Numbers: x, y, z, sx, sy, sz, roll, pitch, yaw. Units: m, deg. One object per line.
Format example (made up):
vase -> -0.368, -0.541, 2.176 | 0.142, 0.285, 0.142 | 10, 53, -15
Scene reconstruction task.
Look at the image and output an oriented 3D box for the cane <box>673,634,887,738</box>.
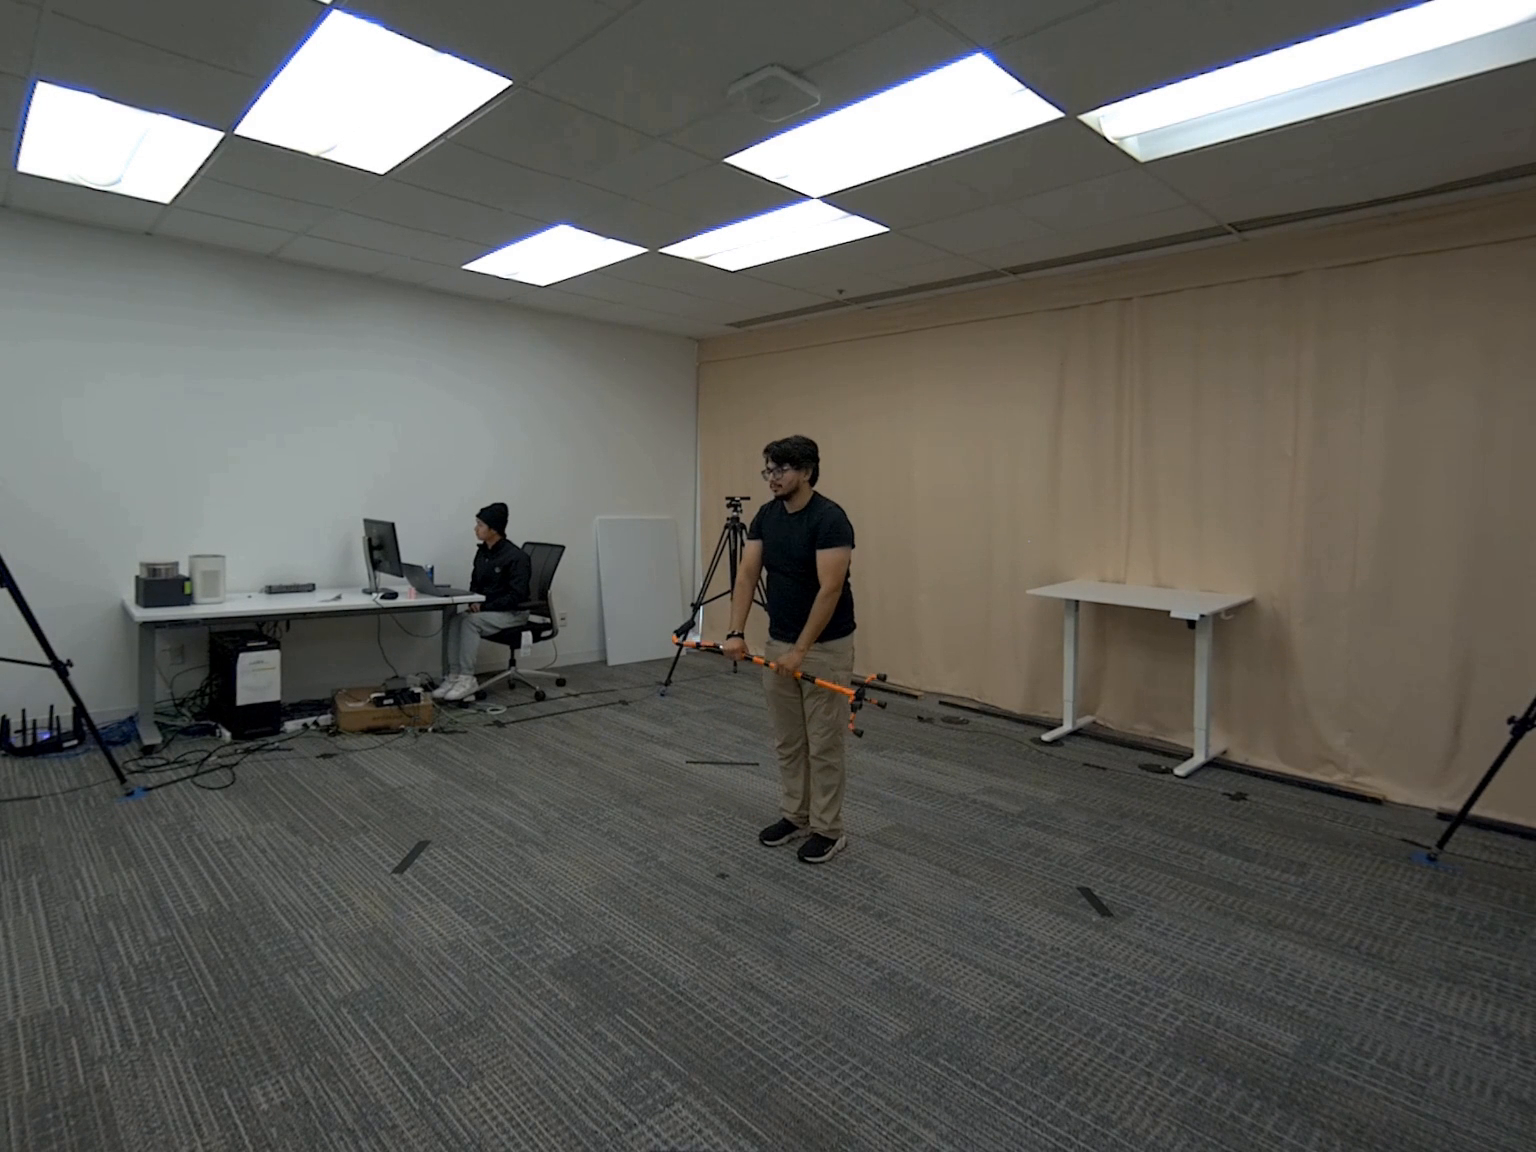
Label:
cane -> -0.027, 0.354, 3.197 | 0.932, 0.148, 0.205 | 16, 36, 34
